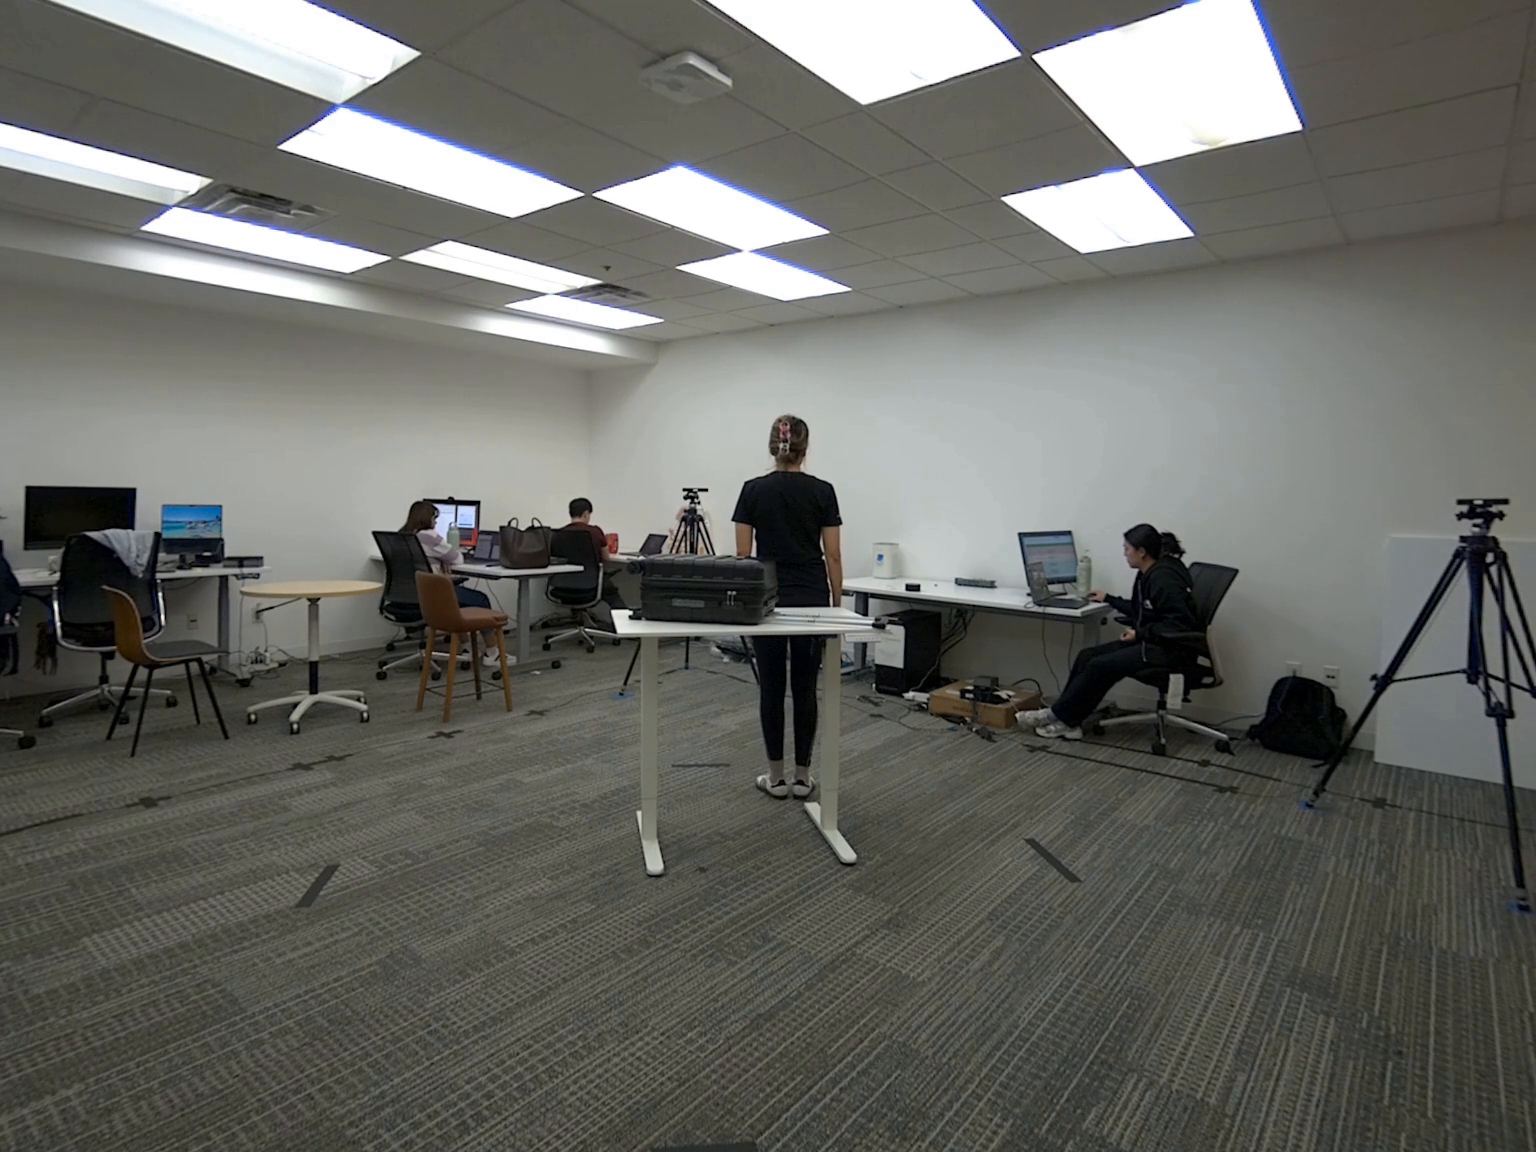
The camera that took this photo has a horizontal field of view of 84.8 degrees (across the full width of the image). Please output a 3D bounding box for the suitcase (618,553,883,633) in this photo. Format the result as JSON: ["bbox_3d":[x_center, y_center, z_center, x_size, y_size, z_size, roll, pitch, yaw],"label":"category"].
[{"bbox_3d":[-0.060,0.049,3.301,0.993,0.257,0.379,1,3,14],"label":"suitcase"}]
